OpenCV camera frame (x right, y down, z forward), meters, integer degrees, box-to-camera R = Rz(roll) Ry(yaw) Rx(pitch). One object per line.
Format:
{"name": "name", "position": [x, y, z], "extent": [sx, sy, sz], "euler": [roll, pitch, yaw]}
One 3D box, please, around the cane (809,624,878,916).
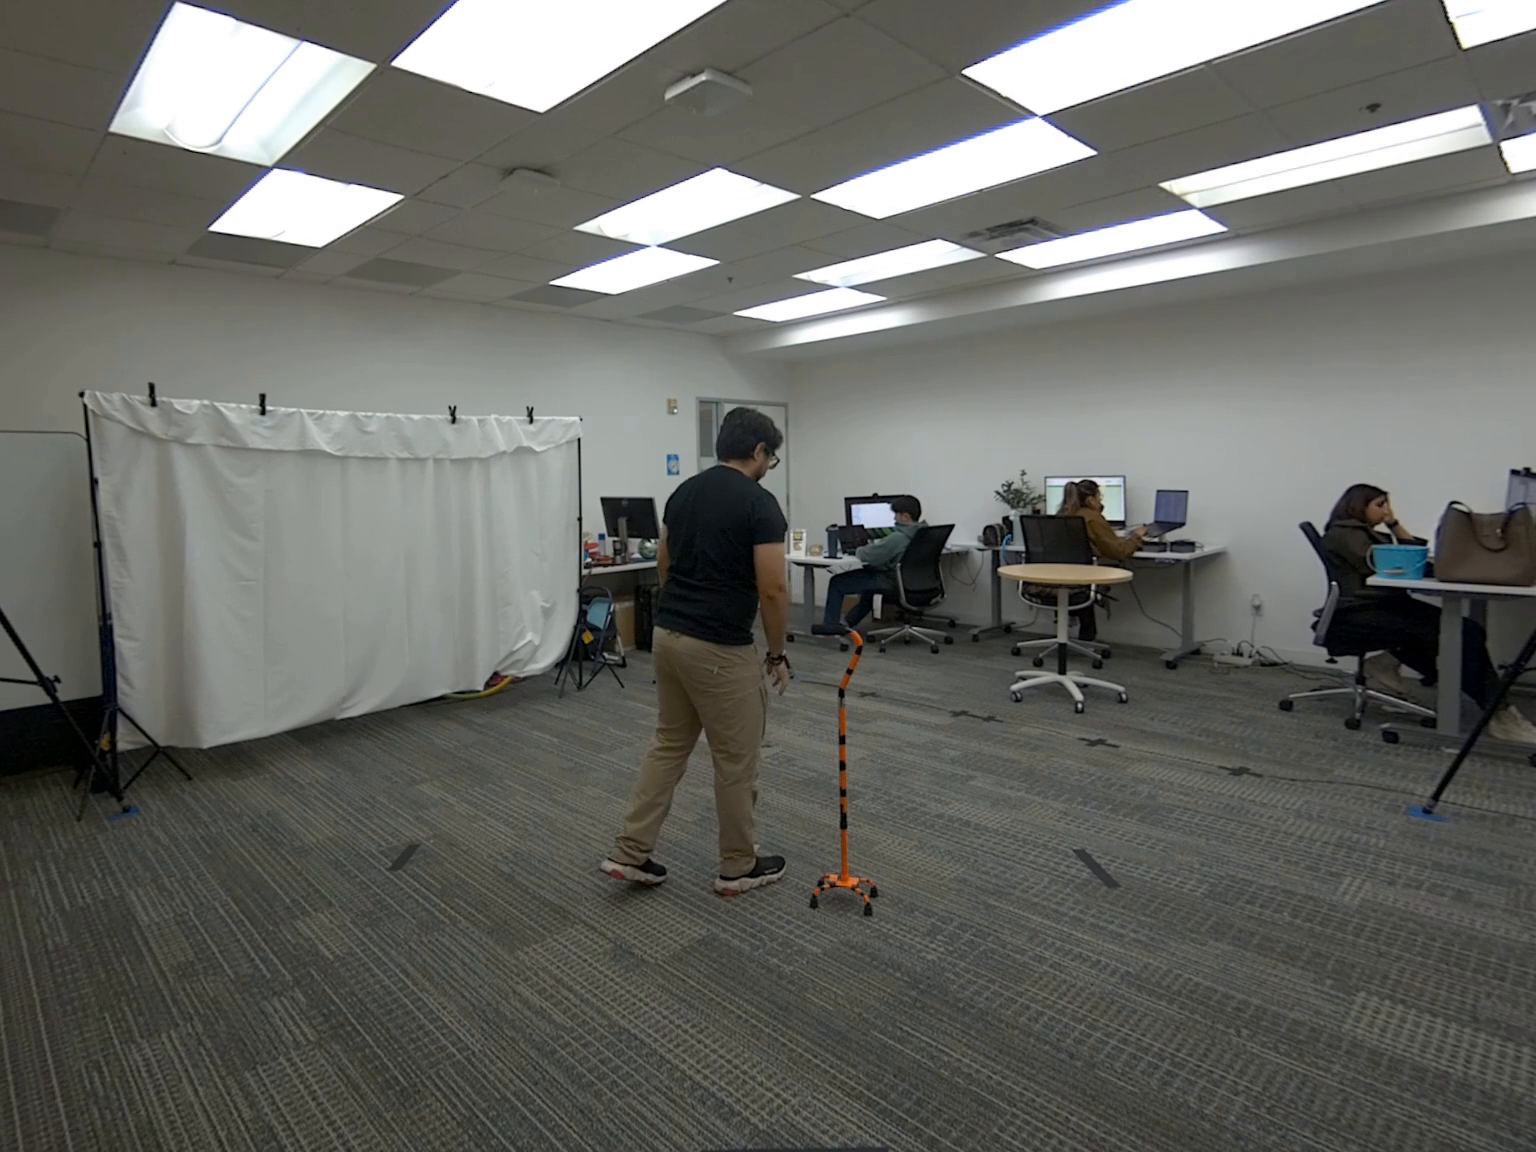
{"name": "cane", "position": [0.246, 0.614, 2.768], "extent": [0.210, 0.905, 0.150], "euler": [0, 3, 16]}
